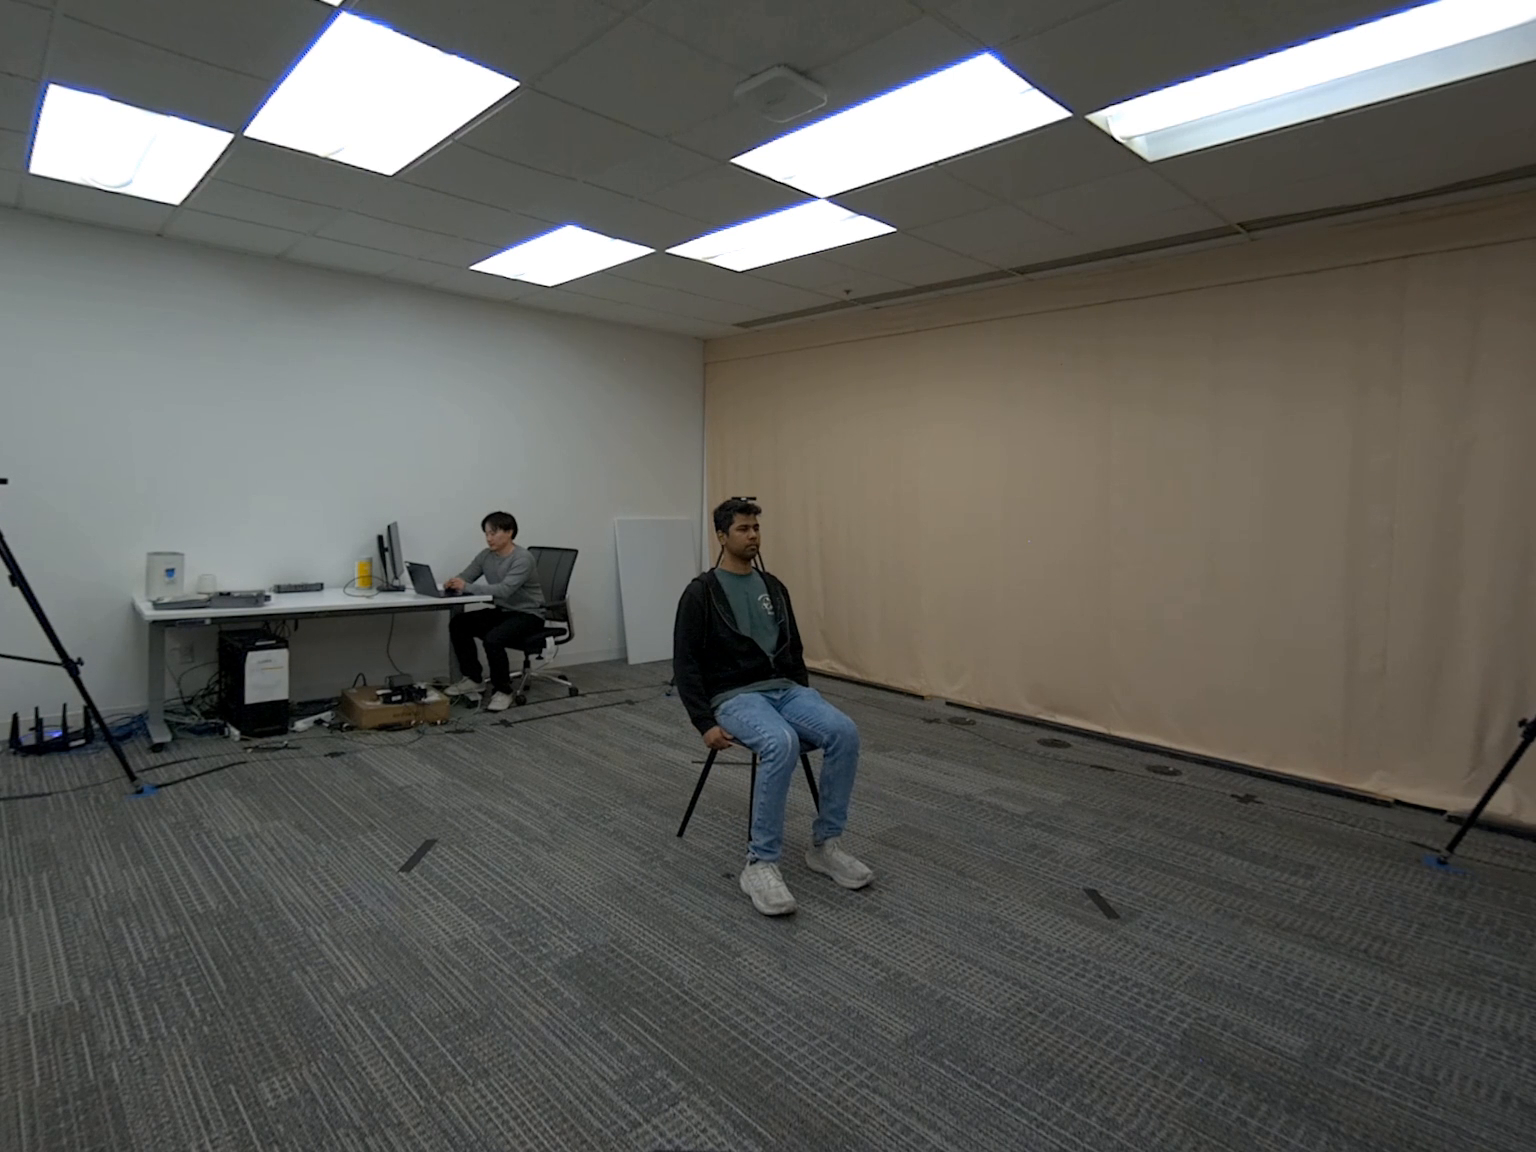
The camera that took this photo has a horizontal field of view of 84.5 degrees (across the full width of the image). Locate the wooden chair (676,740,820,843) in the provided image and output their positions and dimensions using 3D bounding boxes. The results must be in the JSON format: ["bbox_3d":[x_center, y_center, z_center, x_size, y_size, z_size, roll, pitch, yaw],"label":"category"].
[{"bbox_3d":[-0.038,0.658,3.385,0.467,0.878,0.535,0,-1,-40],"label":"wooden chair"}]
